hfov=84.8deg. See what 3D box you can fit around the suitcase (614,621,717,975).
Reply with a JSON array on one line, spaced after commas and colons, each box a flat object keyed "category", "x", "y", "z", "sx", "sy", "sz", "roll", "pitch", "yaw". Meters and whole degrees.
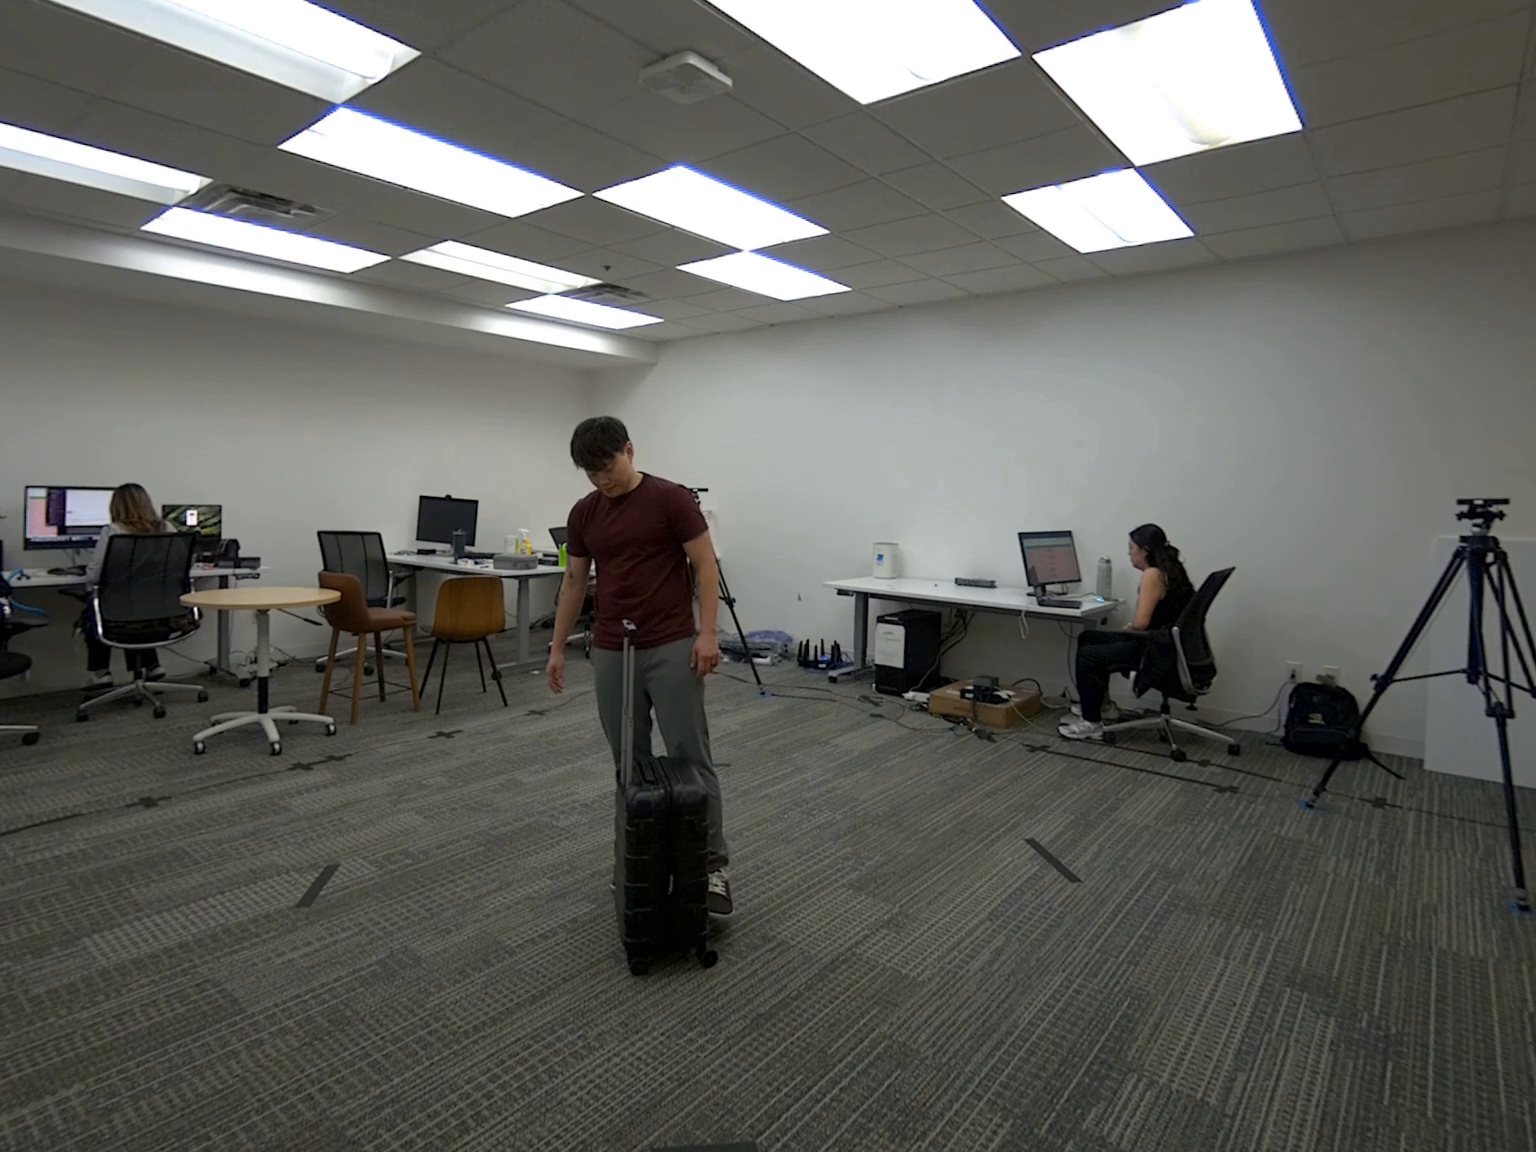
[{"category": "suitcase", "x": -0.334, "y": 0.645, "z": 2.562, "sx": 0.254, "sy": 0.974, "sz": 0.391, "roll": 1, "pitch": 5, "yaw": -13}]
